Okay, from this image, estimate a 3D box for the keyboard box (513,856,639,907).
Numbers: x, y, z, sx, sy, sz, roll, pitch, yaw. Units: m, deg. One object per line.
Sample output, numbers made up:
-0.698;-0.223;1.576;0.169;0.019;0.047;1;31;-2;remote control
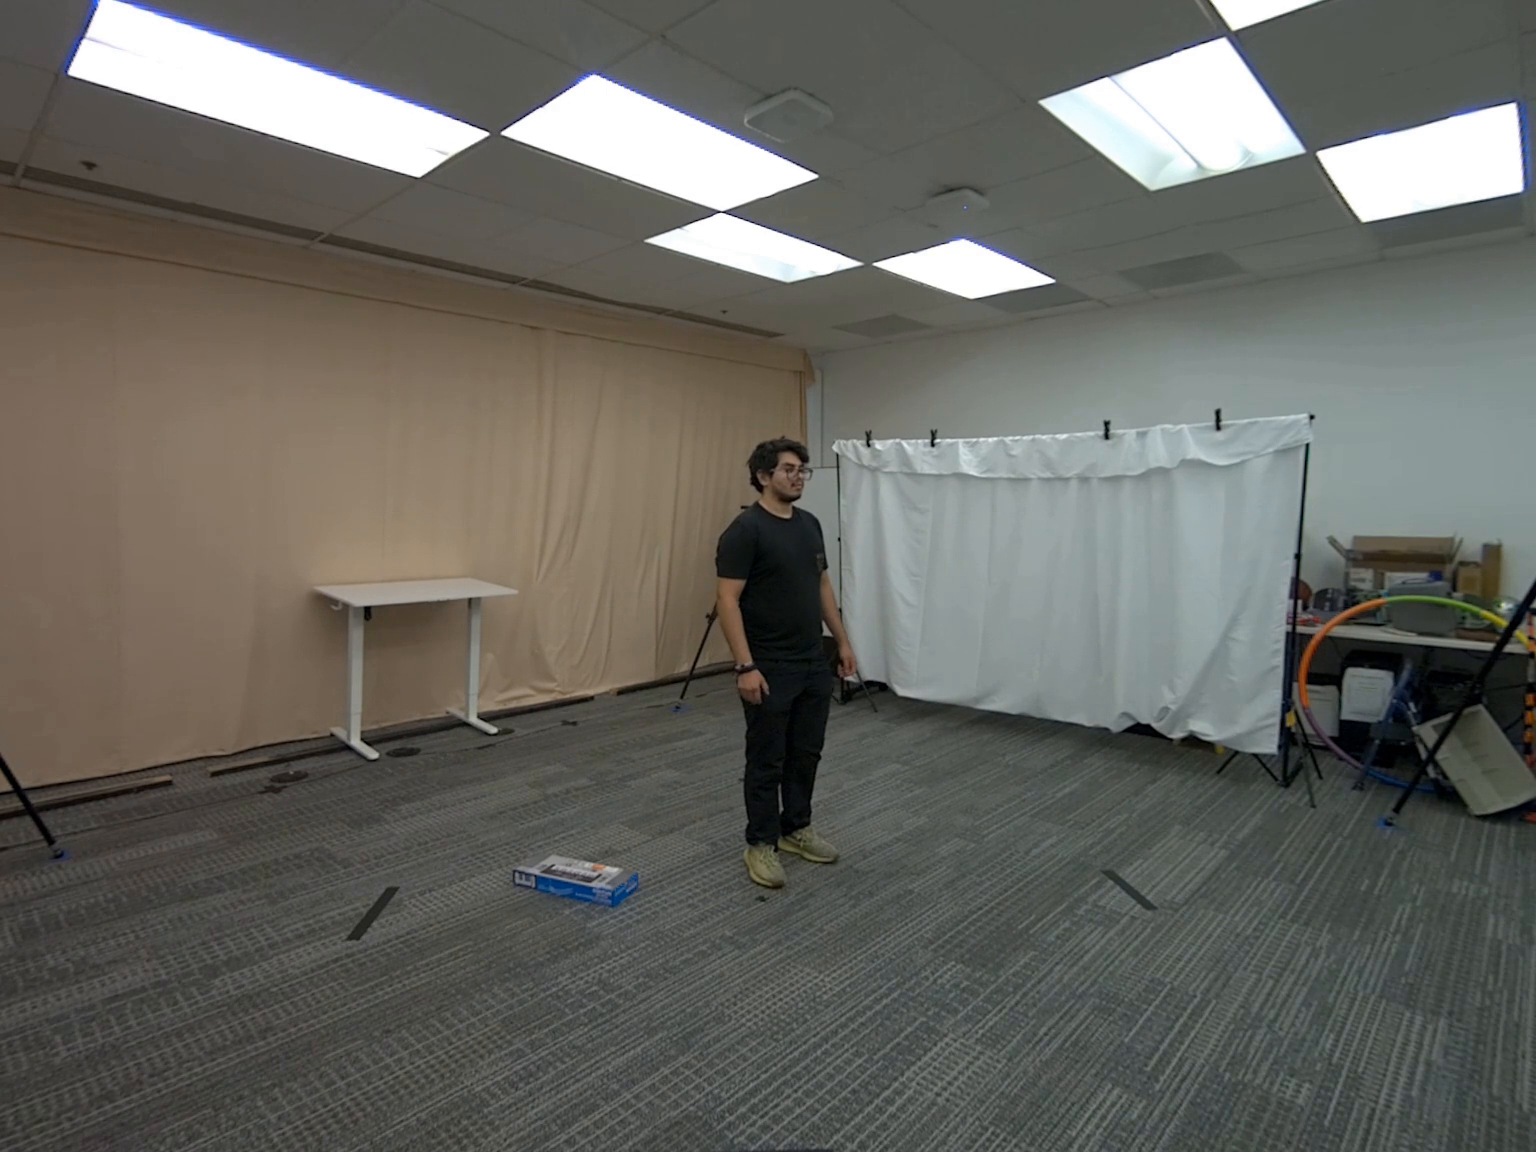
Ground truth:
-0.708;1.110;3.092;0.448;0.059;0.172;2;4;25;keyboard box
